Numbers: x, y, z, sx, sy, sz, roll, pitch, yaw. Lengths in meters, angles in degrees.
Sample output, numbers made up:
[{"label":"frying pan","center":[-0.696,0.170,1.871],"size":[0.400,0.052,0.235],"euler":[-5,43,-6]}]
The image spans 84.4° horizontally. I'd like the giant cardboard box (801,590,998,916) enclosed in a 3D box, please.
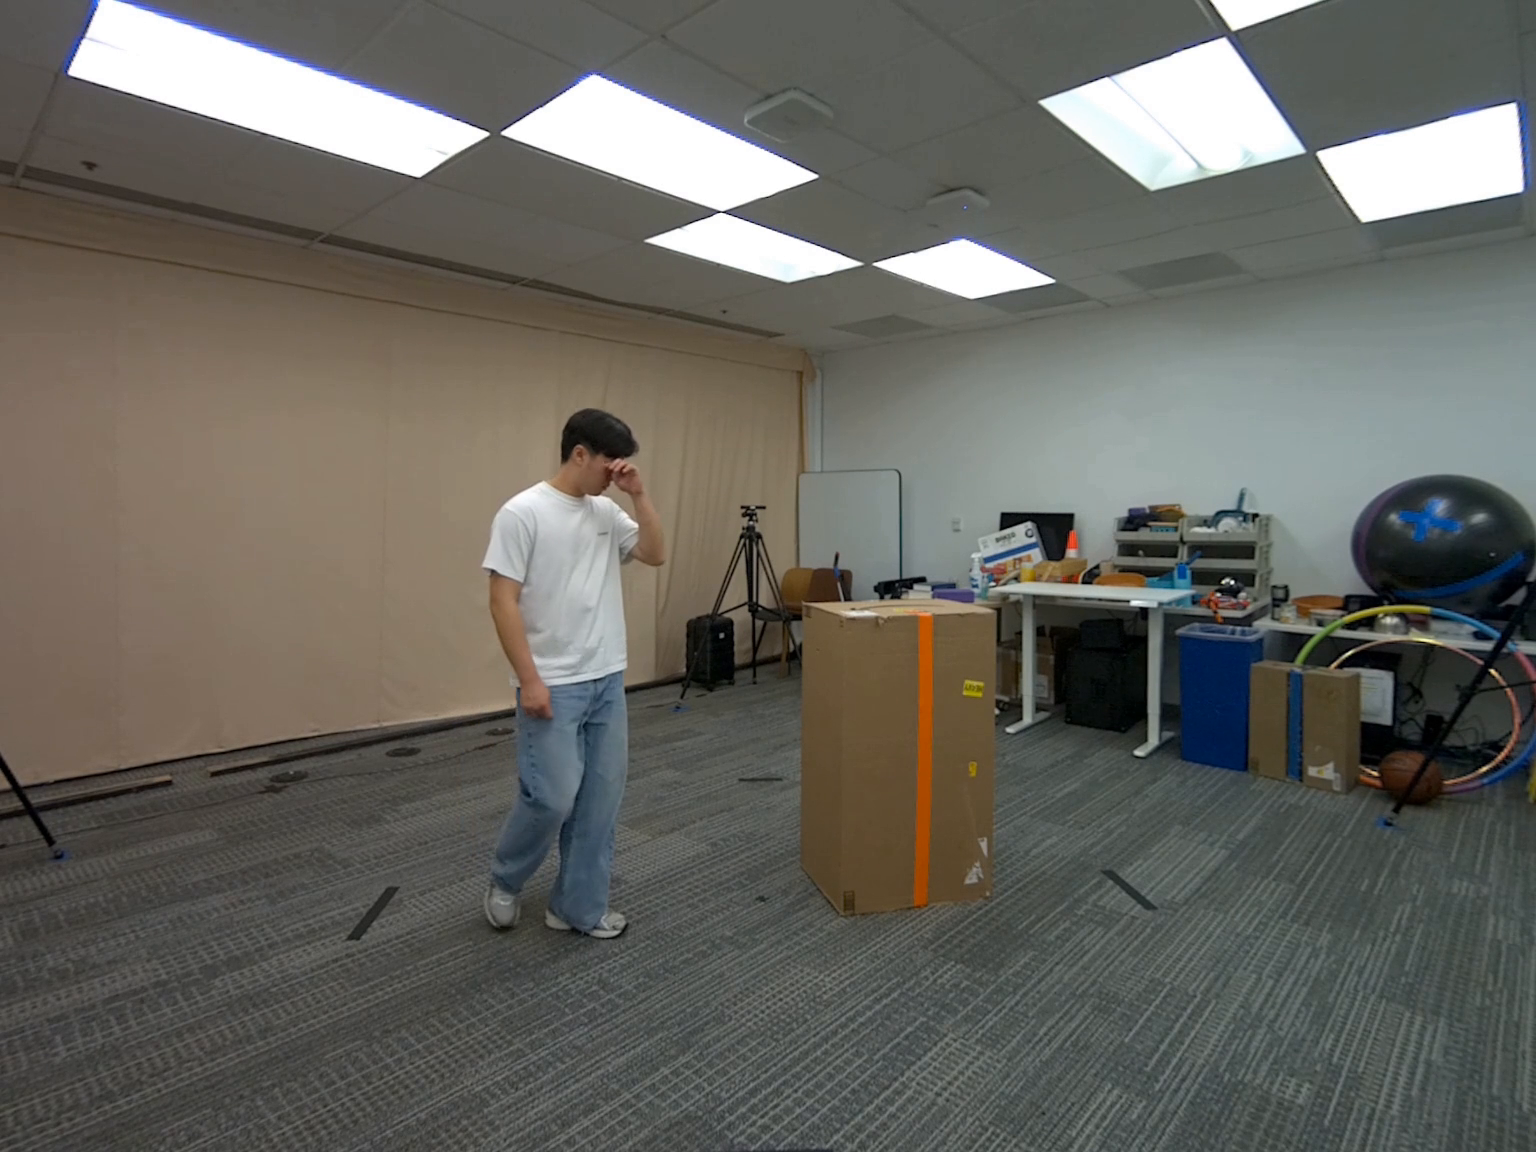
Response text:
[{"label":"giant cardboard box","center":[0.466,0.622,3.099],"size":[0.568,1.024,0.434],"euler":[-1,3,-17]}]
